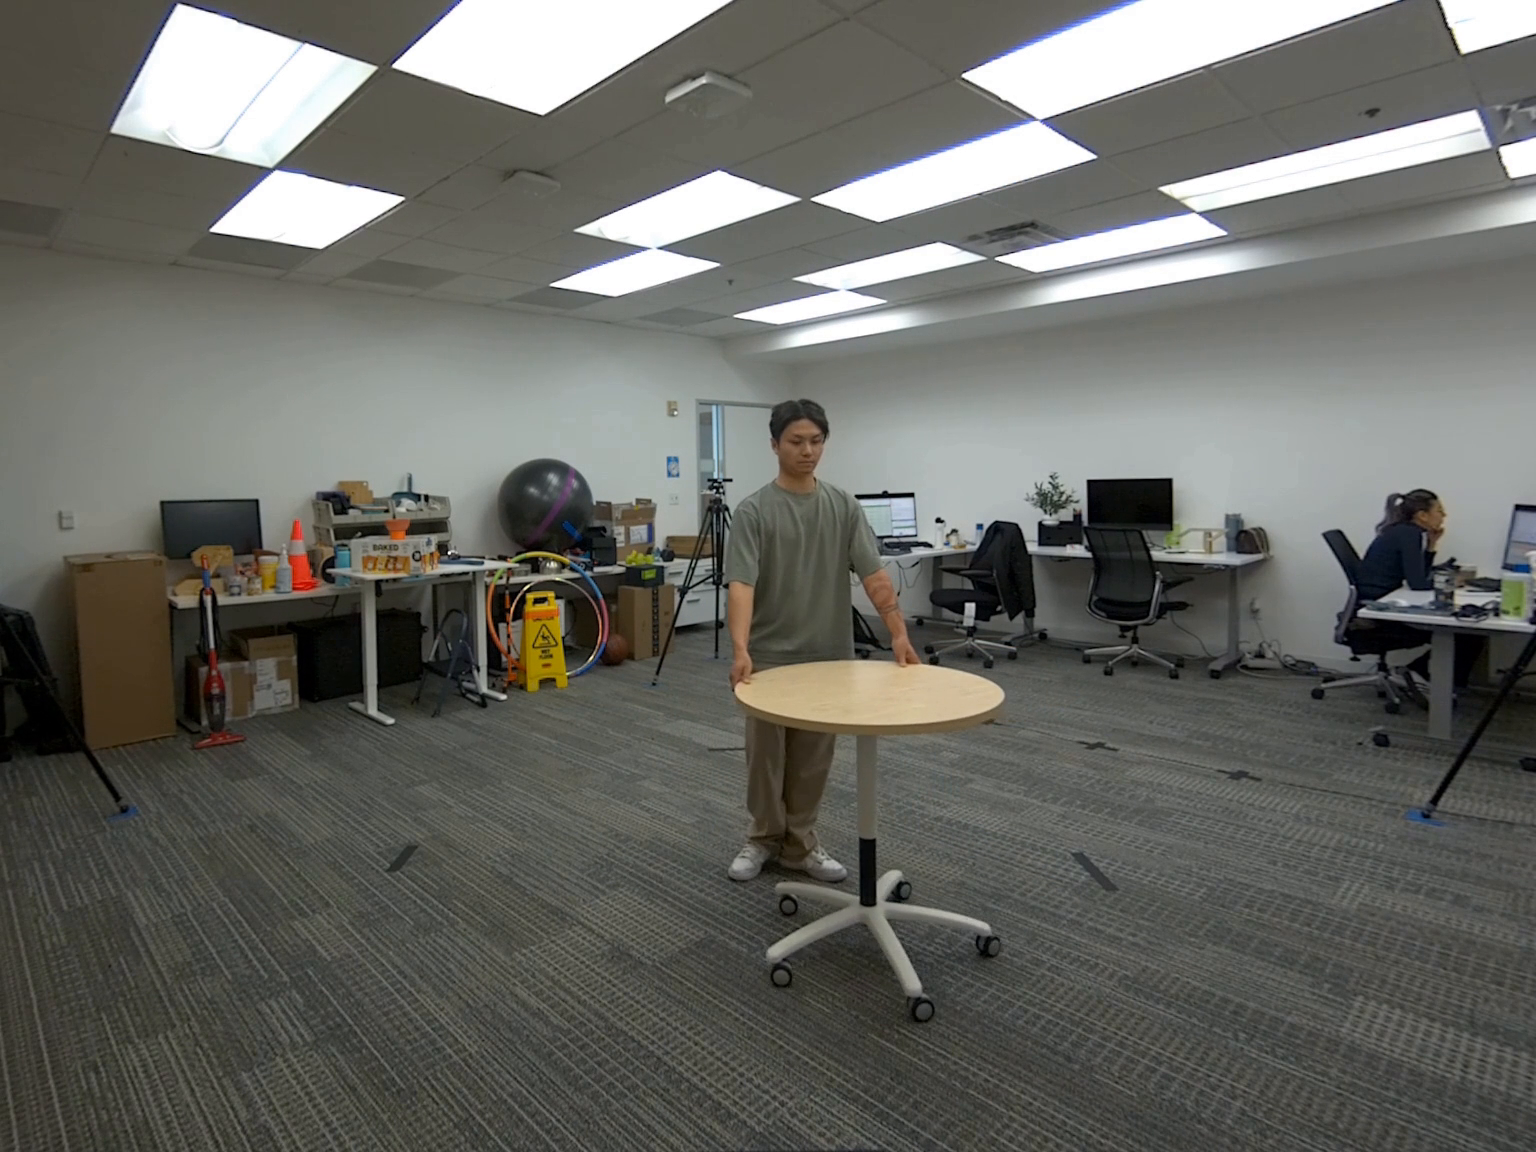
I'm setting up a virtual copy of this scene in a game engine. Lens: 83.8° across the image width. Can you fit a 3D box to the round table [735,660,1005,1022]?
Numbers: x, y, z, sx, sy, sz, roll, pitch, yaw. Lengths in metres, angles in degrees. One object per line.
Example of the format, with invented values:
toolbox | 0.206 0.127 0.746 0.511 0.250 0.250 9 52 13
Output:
round table | 0.298 0.720 2.491 0.784 0.784 0.789 -2 4 -2
